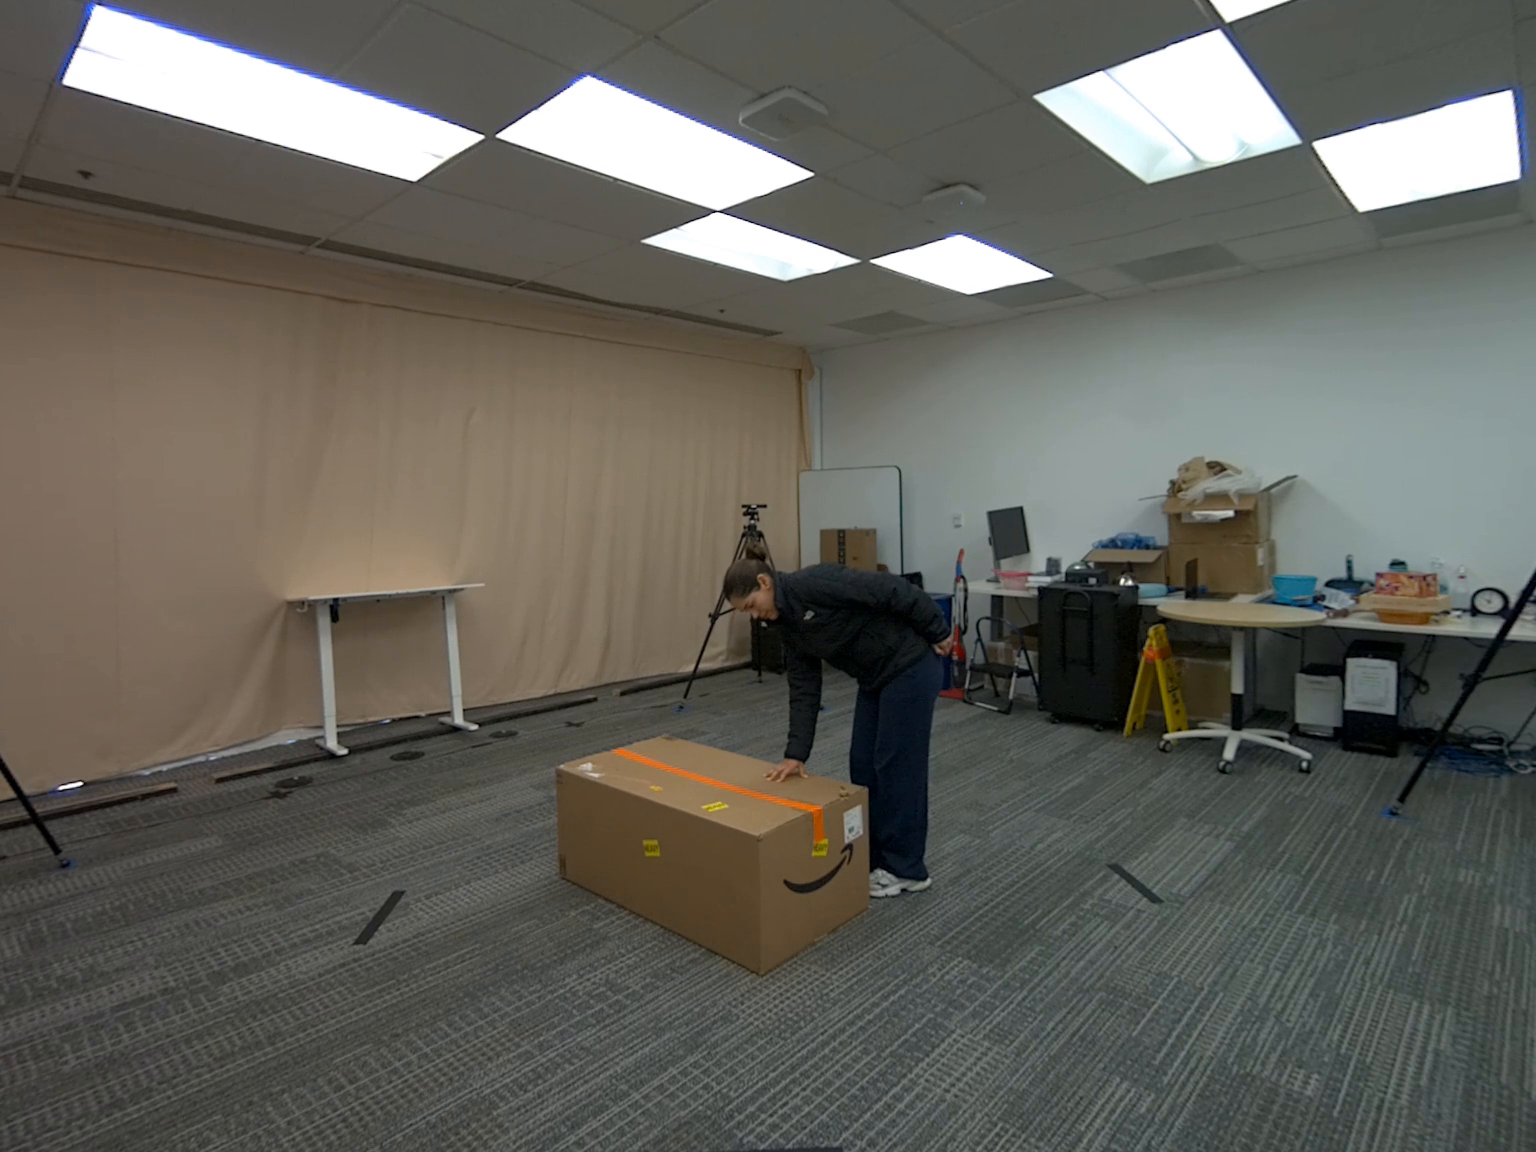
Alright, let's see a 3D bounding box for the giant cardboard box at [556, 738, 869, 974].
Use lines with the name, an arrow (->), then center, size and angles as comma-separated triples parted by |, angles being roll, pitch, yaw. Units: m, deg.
giant cardboard box -> -0.212, 0.932, 3.032 | 1.061, 0.446, 0.566 | 2, 4, 42
